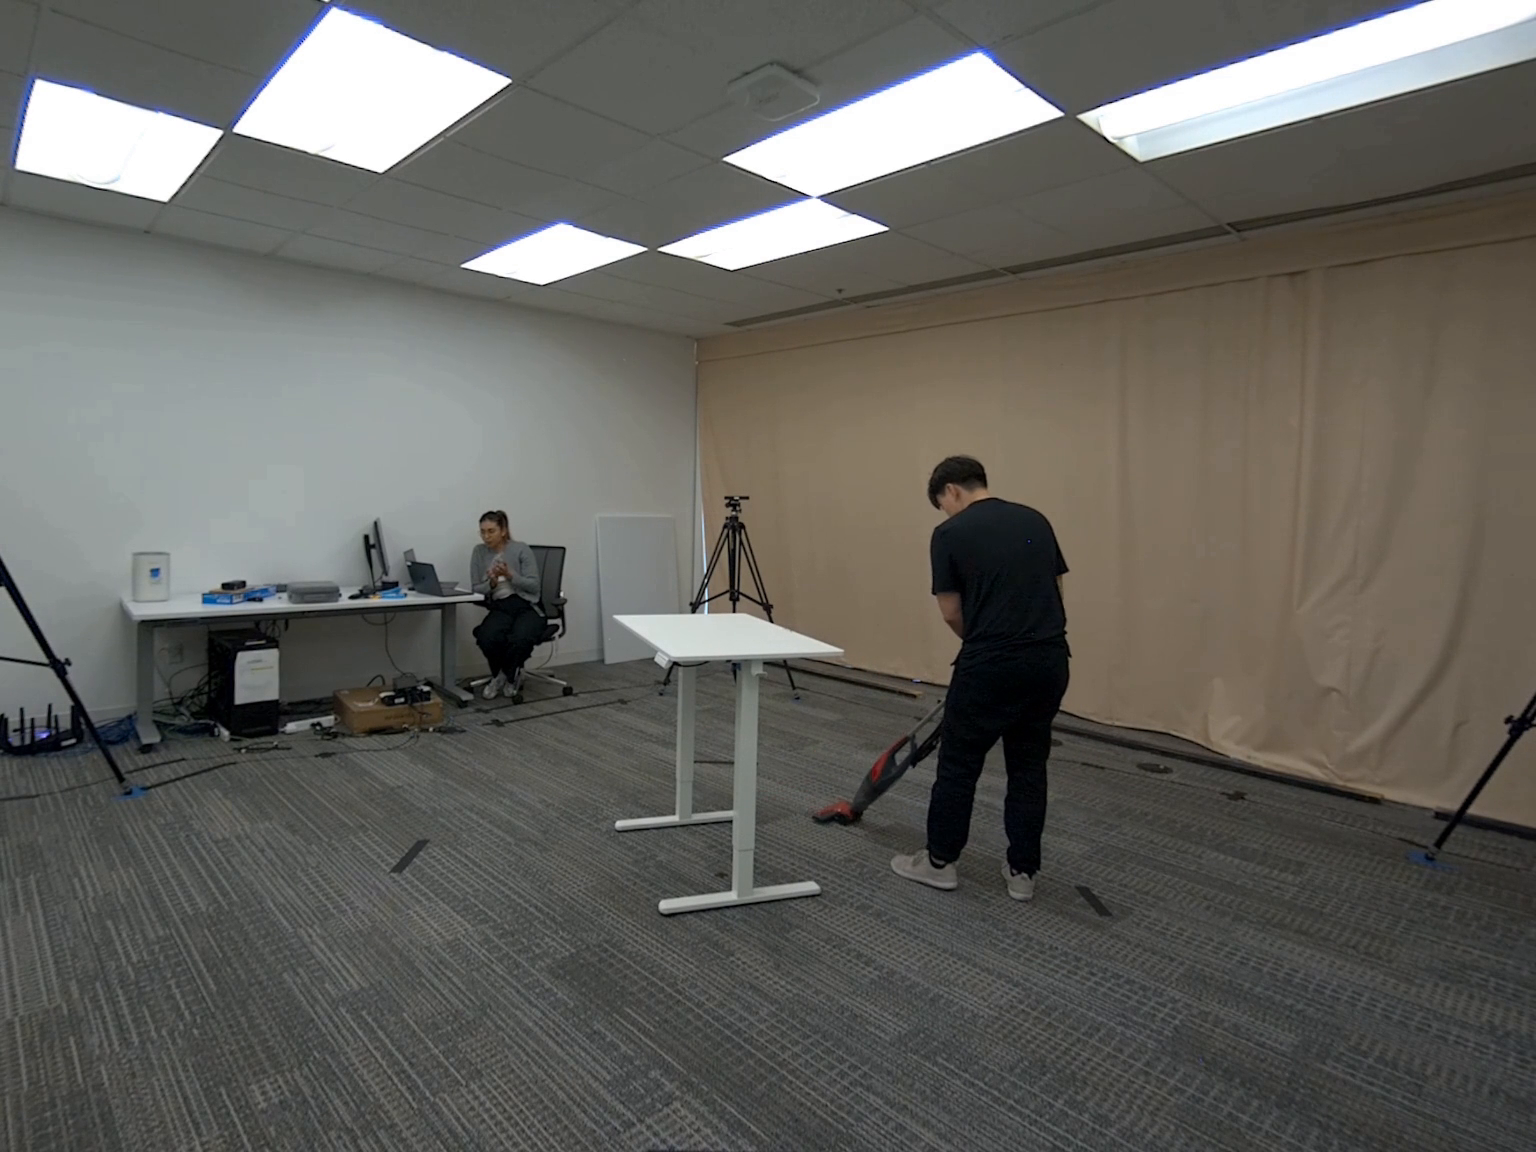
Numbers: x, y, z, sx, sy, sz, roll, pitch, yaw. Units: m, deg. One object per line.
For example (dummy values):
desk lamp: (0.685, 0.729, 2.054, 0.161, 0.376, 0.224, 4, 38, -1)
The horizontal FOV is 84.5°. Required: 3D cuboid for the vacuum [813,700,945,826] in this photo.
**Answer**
vacuum: (0.579, 0.702, 3.465, 0.247, 1.047, 0.147, -6, 52, -54)
